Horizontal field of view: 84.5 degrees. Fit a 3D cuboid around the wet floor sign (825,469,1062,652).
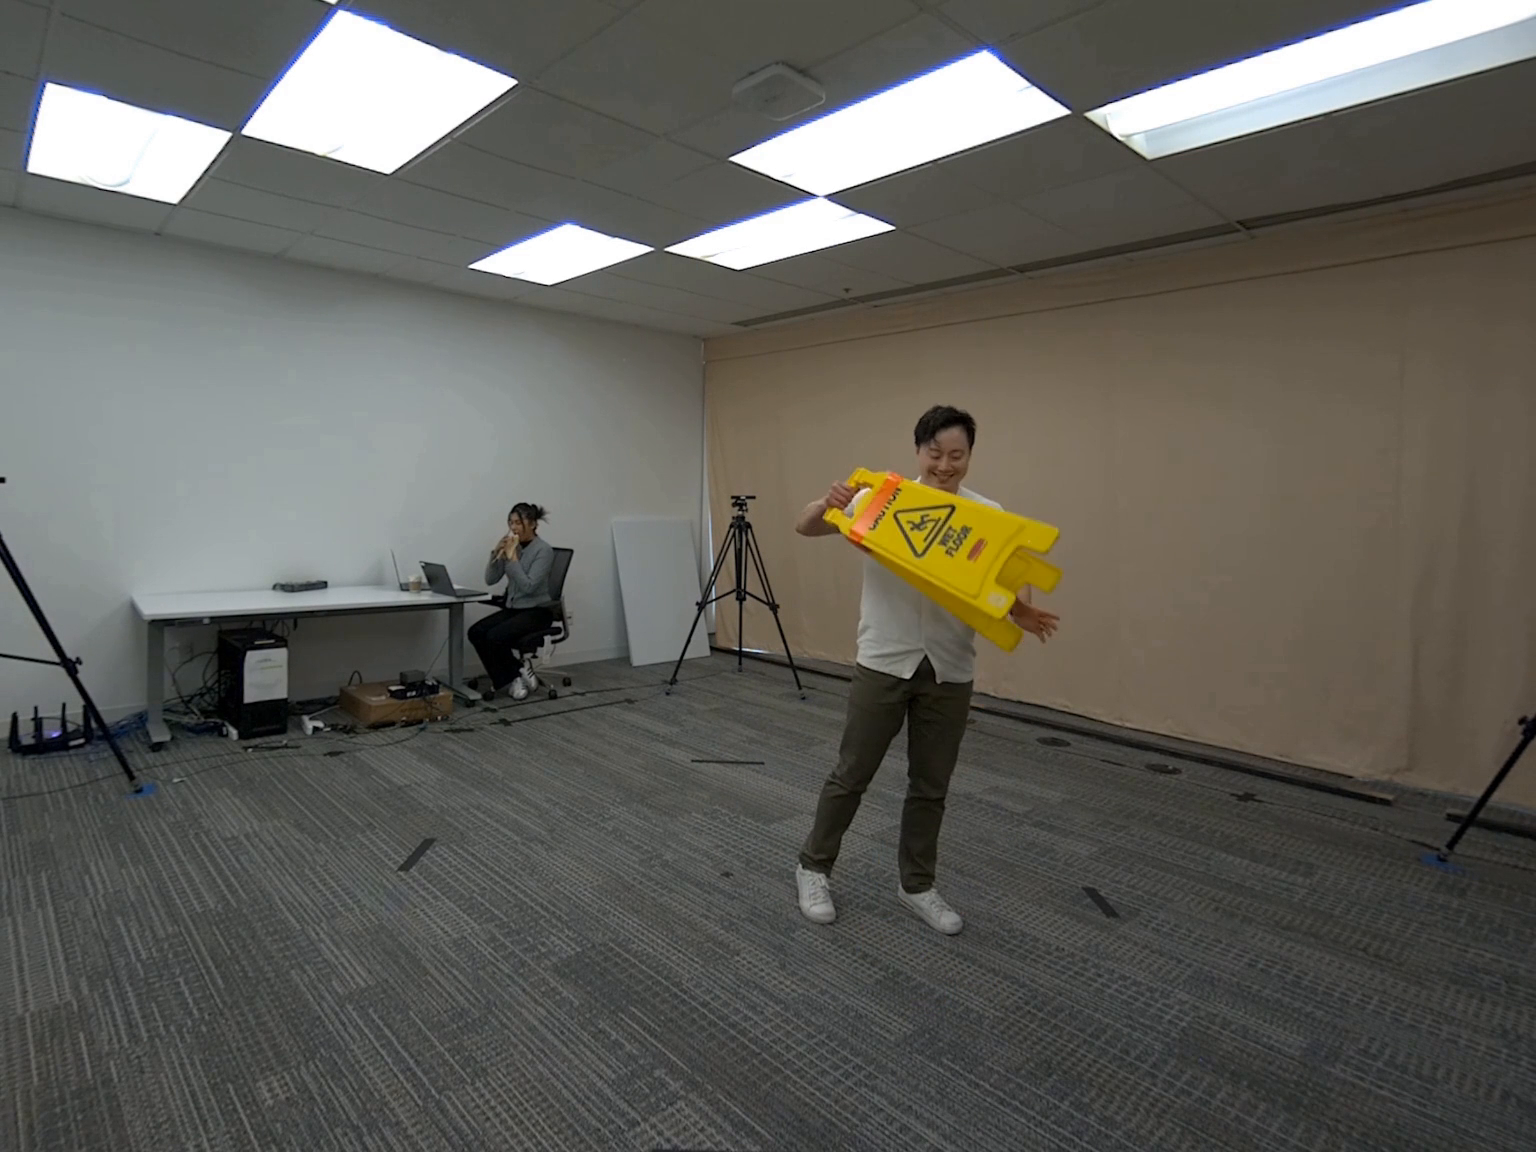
[{"bbox_3d":[0.453,-0.086,2.370,0.665,0.282,0.281,33,-8,31],"label":"wet floor sign"}]
